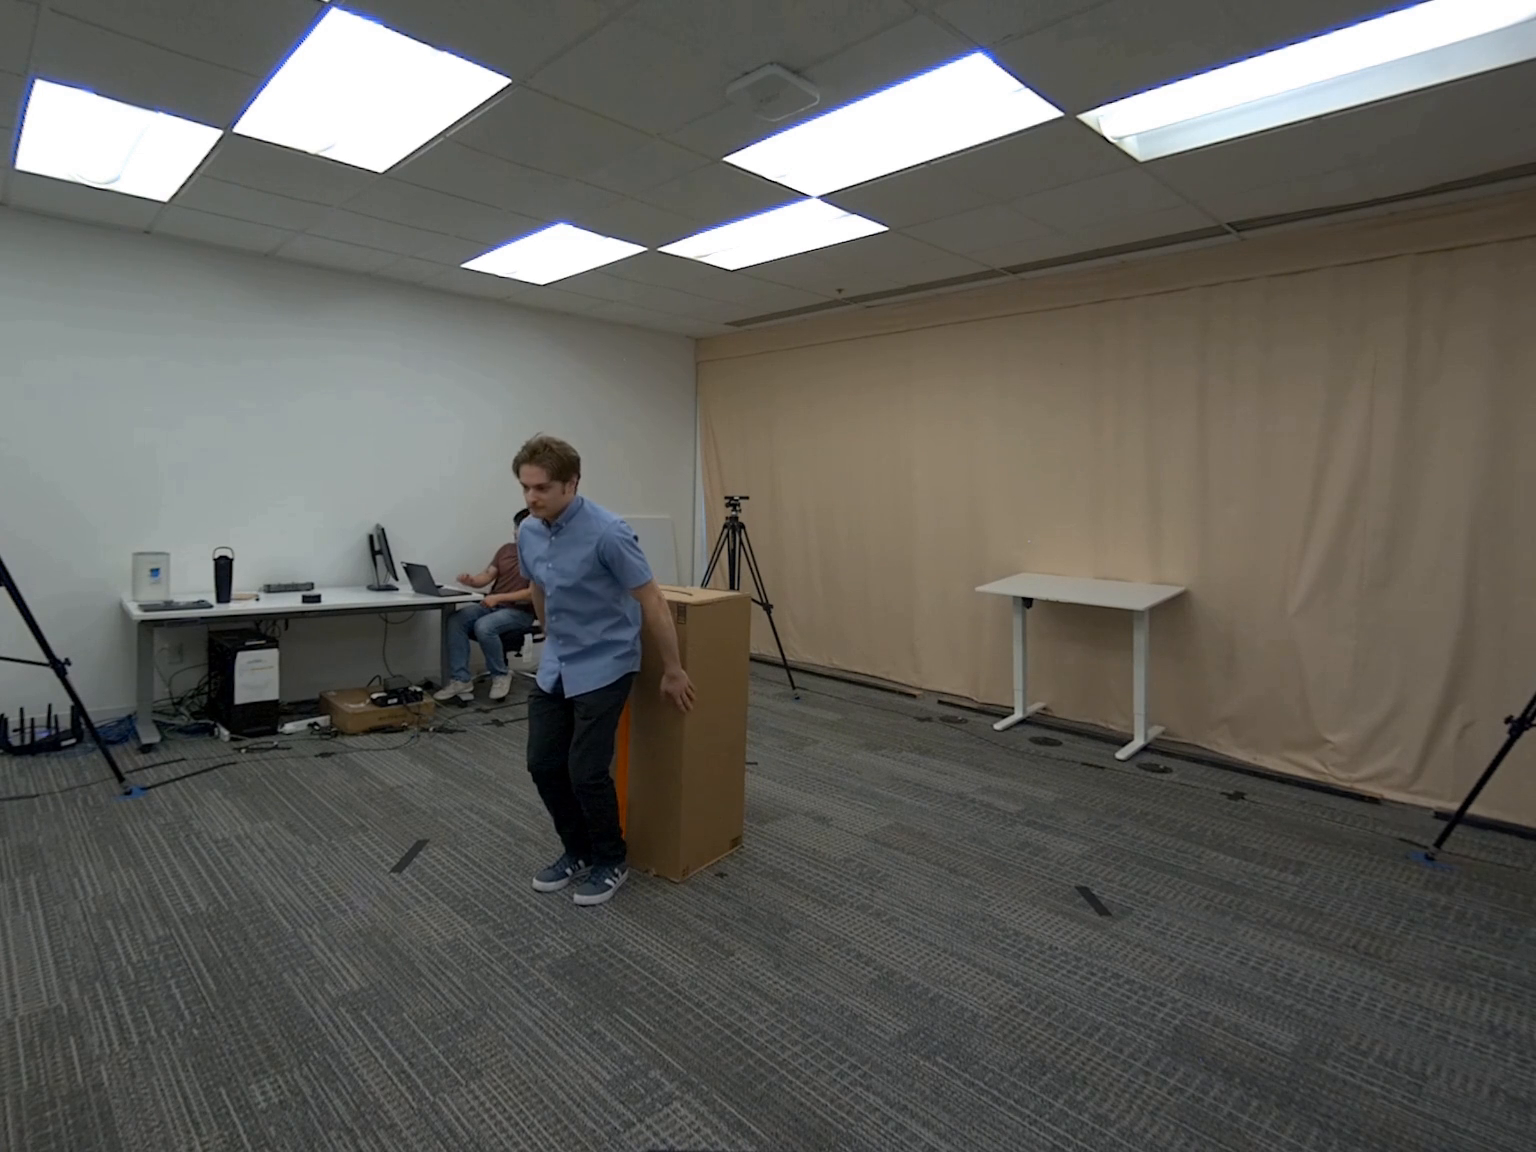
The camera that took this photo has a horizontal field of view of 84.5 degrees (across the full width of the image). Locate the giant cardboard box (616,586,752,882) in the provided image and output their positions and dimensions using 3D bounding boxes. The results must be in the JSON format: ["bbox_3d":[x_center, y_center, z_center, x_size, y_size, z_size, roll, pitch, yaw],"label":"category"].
[{"bbox_3d":[-0.439,0.572,3.331,0.597,1.025,0.437,4,3,32],"label":"giant cardboard box"}]
